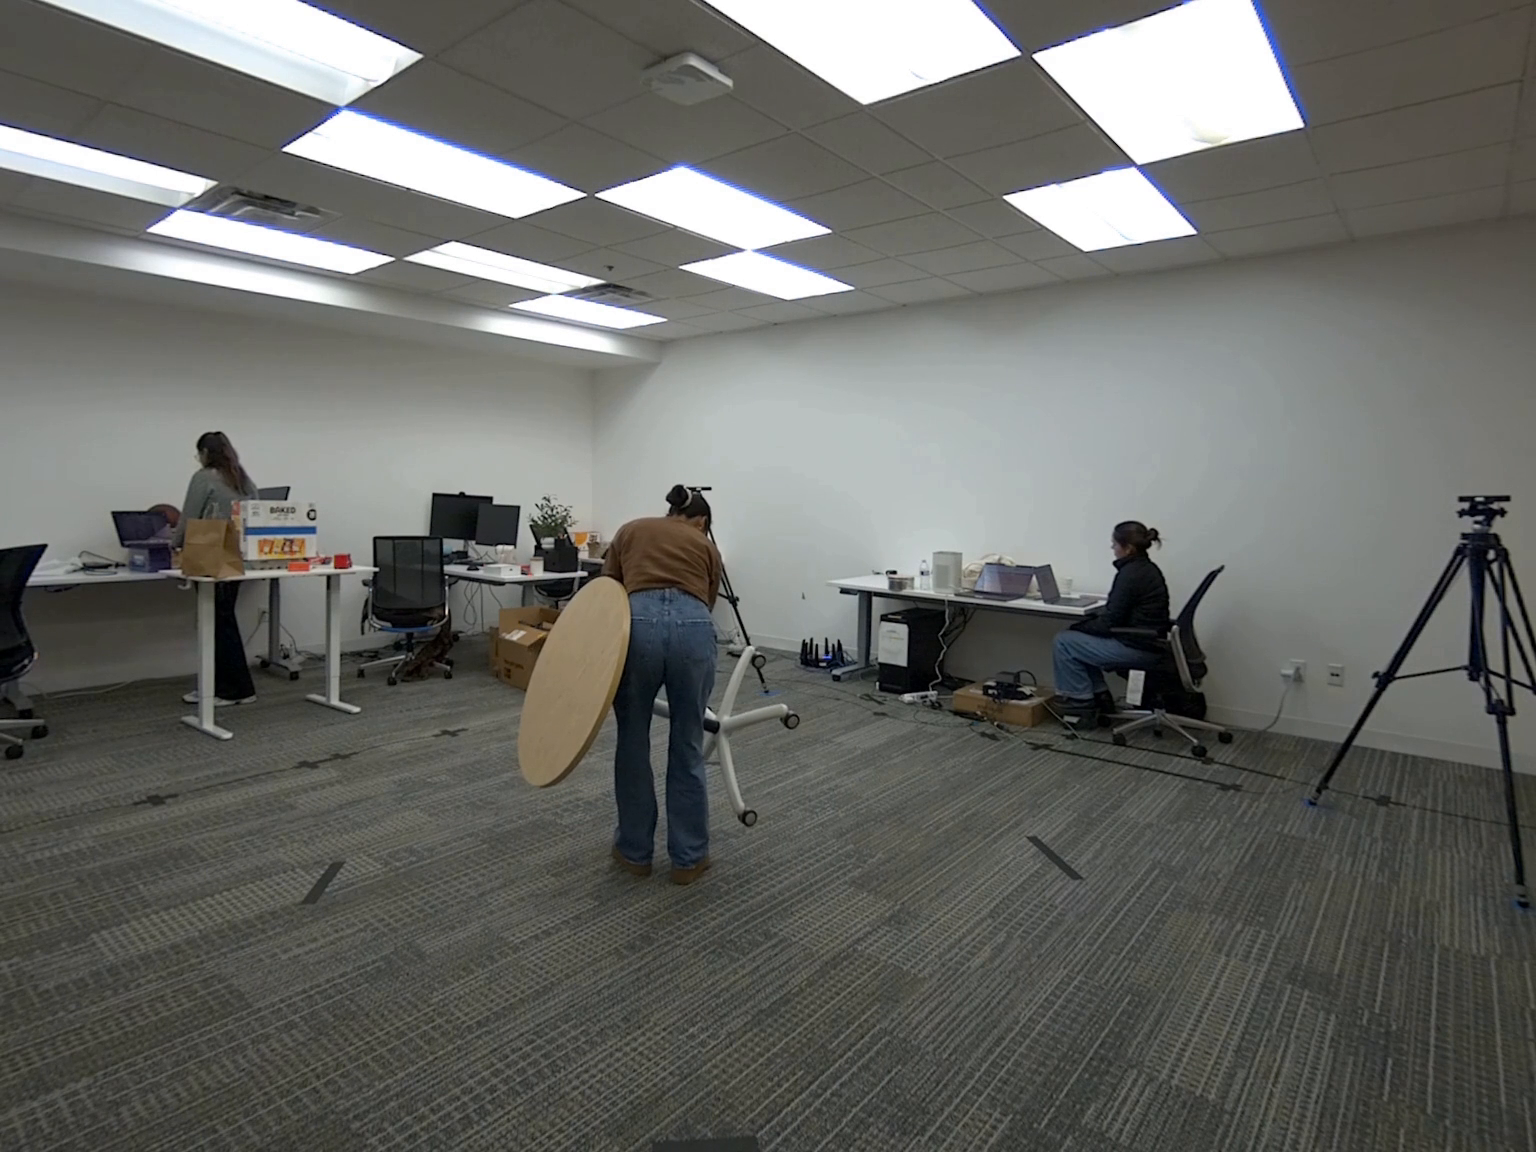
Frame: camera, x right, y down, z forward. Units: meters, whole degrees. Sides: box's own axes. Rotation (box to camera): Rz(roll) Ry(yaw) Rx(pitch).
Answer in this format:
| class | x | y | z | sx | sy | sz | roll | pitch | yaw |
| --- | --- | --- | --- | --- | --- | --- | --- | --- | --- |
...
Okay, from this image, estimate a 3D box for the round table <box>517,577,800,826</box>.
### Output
| class | x | y | z | sx | sy | sz | roll | pitch | yaw |
| --- | --- | --- | --- | --- | --- | --- | --- | --- | --- |
| round table | -0.413 | 0.500 | 3.210 | 0.767 | 0.767 | 0.787 | 25 | -8 | -29 |
